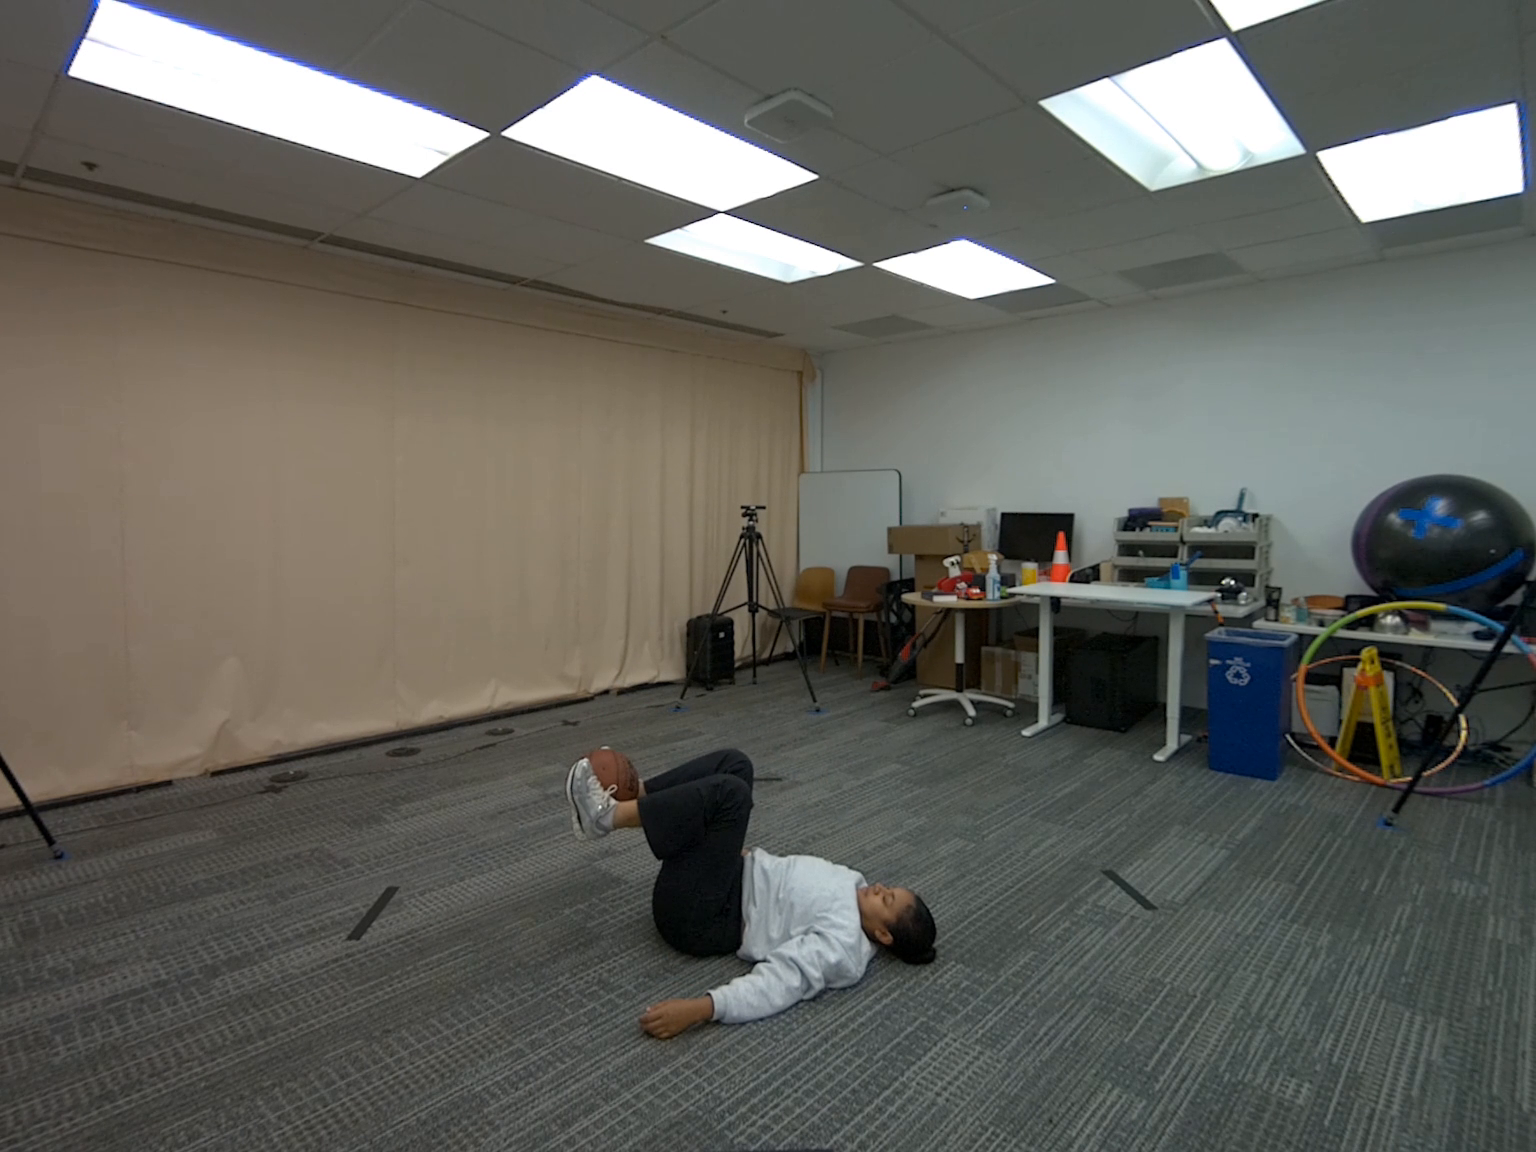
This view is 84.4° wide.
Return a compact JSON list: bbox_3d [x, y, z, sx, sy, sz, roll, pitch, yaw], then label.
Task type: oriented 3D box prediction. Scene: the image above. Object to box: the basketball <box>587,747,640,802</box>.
[{"bbox_3d":[-0.540,0.693,2.762,0.236,0.236,0.236,2,0,-2],"label":"basketball"}]
